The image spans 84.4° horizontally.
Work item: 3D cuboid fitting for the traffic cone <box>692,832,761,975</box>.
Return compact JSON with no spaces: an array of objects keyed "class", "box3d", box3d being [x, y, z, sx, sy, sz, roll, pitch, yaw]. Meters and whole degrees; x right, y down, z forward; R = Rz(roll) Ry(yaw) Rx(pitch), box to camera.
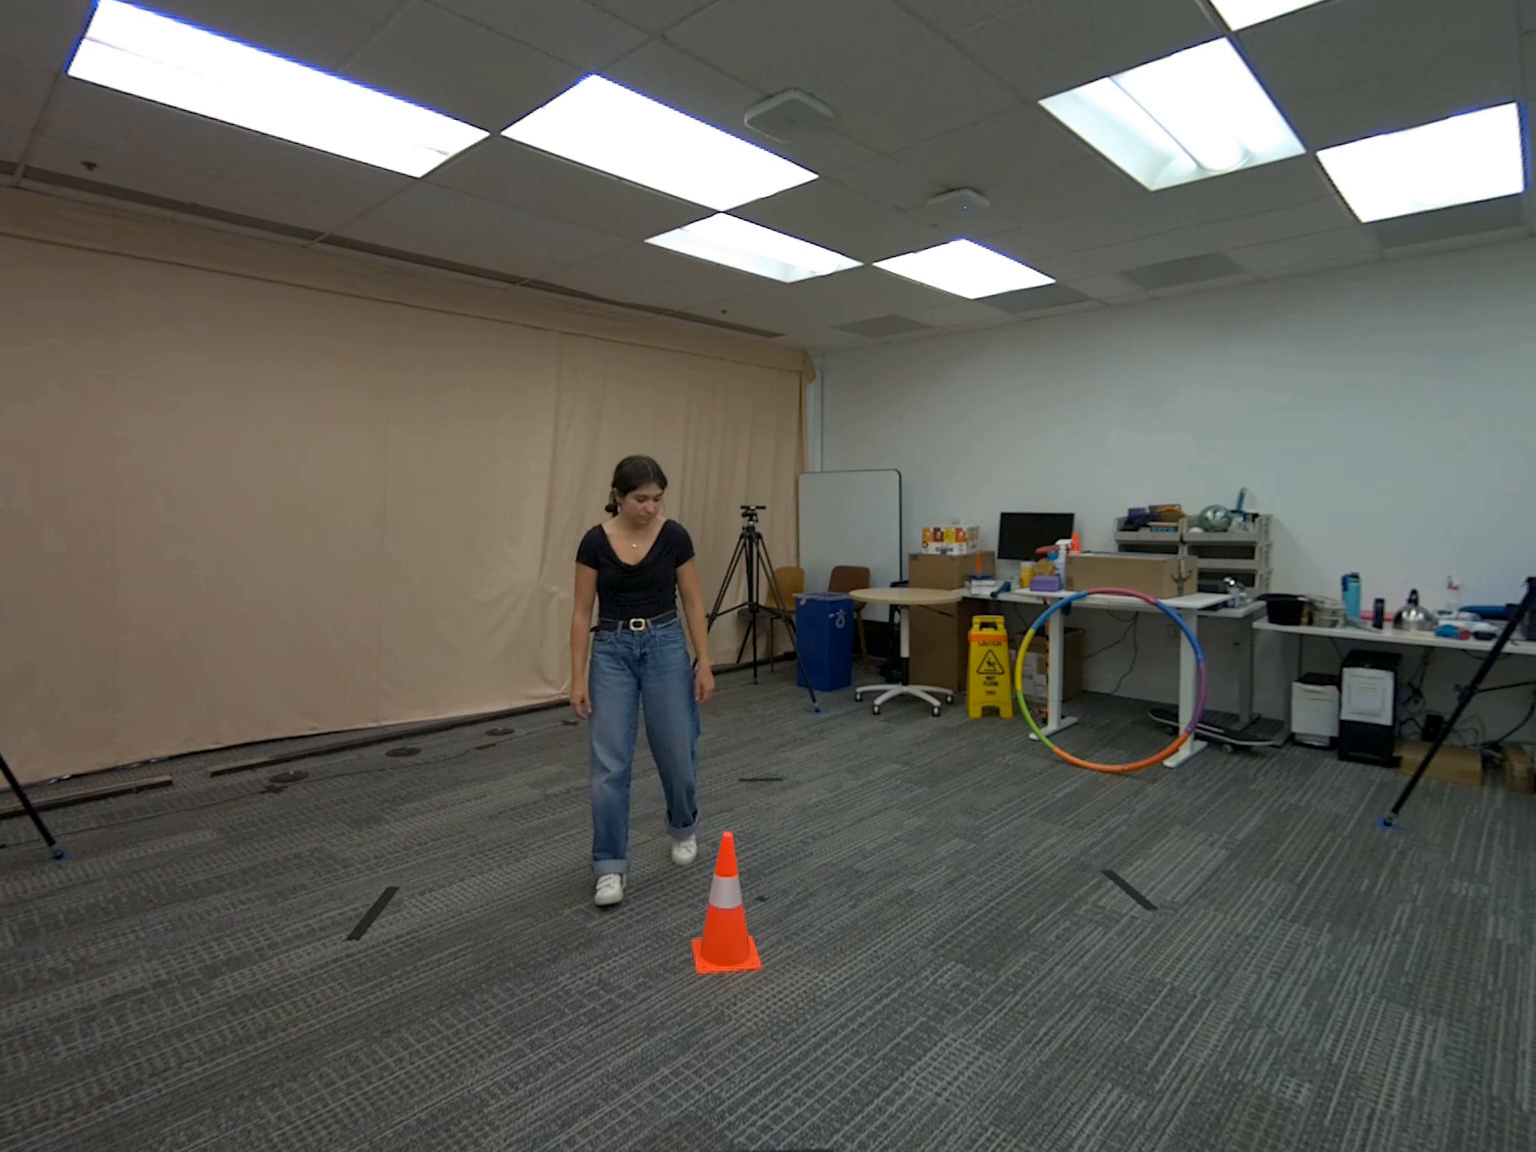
[{"class":"traffic cone","box3d":[-0.124,0.991,2.611,0.201,0.383,0.207,1,2,-9]}]
